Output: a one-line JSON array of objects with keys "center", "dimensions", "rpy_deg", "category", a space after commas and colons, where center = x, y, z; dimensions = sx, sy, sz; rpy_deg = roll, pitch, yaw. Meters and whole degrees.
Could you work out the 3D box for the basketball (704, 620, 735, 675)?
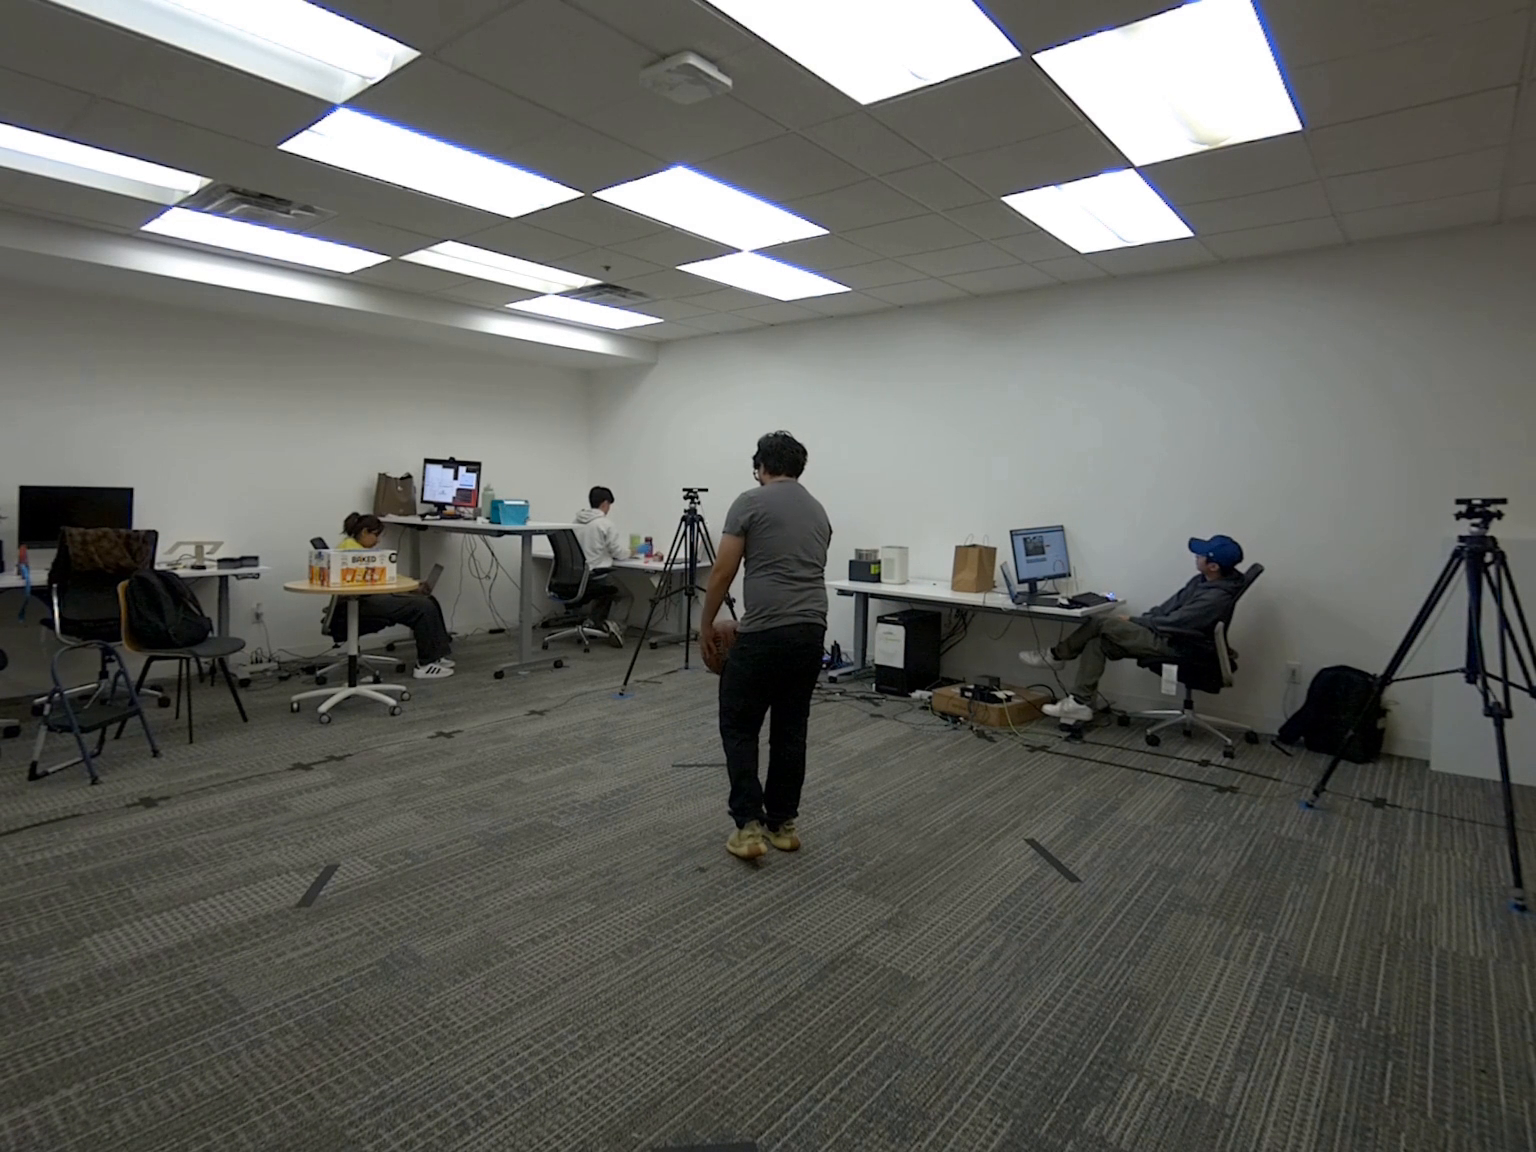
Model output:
[{"center": [-0.167, 0.289, 3.549], "dimensions": [0.235, 0.235, 0.237], "rpy_deg": [1, 4, -2], "category": "basketball"}]
